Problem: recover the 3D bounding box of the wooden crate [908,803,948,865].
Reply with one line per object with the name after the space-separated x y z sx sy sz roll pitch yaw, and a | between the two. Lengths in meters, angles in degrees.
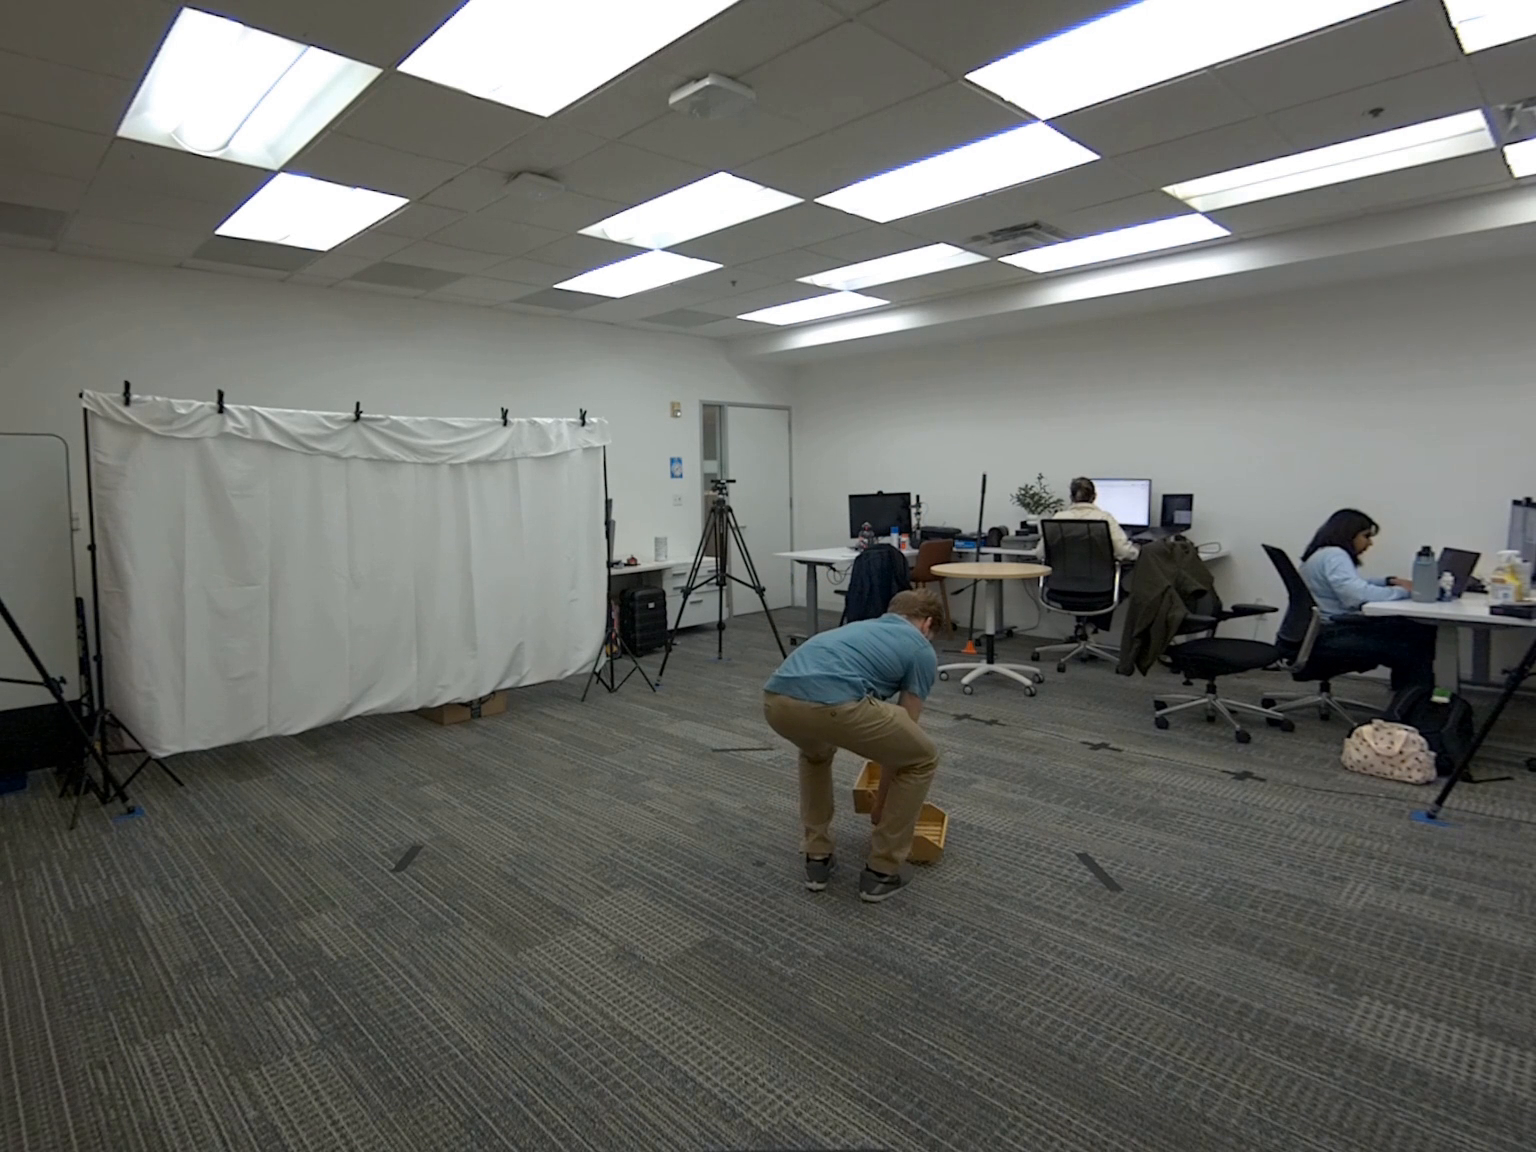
0.521 0.879 3.219 0.307 0.272 0.321 -3 6 17 | wooden crate
